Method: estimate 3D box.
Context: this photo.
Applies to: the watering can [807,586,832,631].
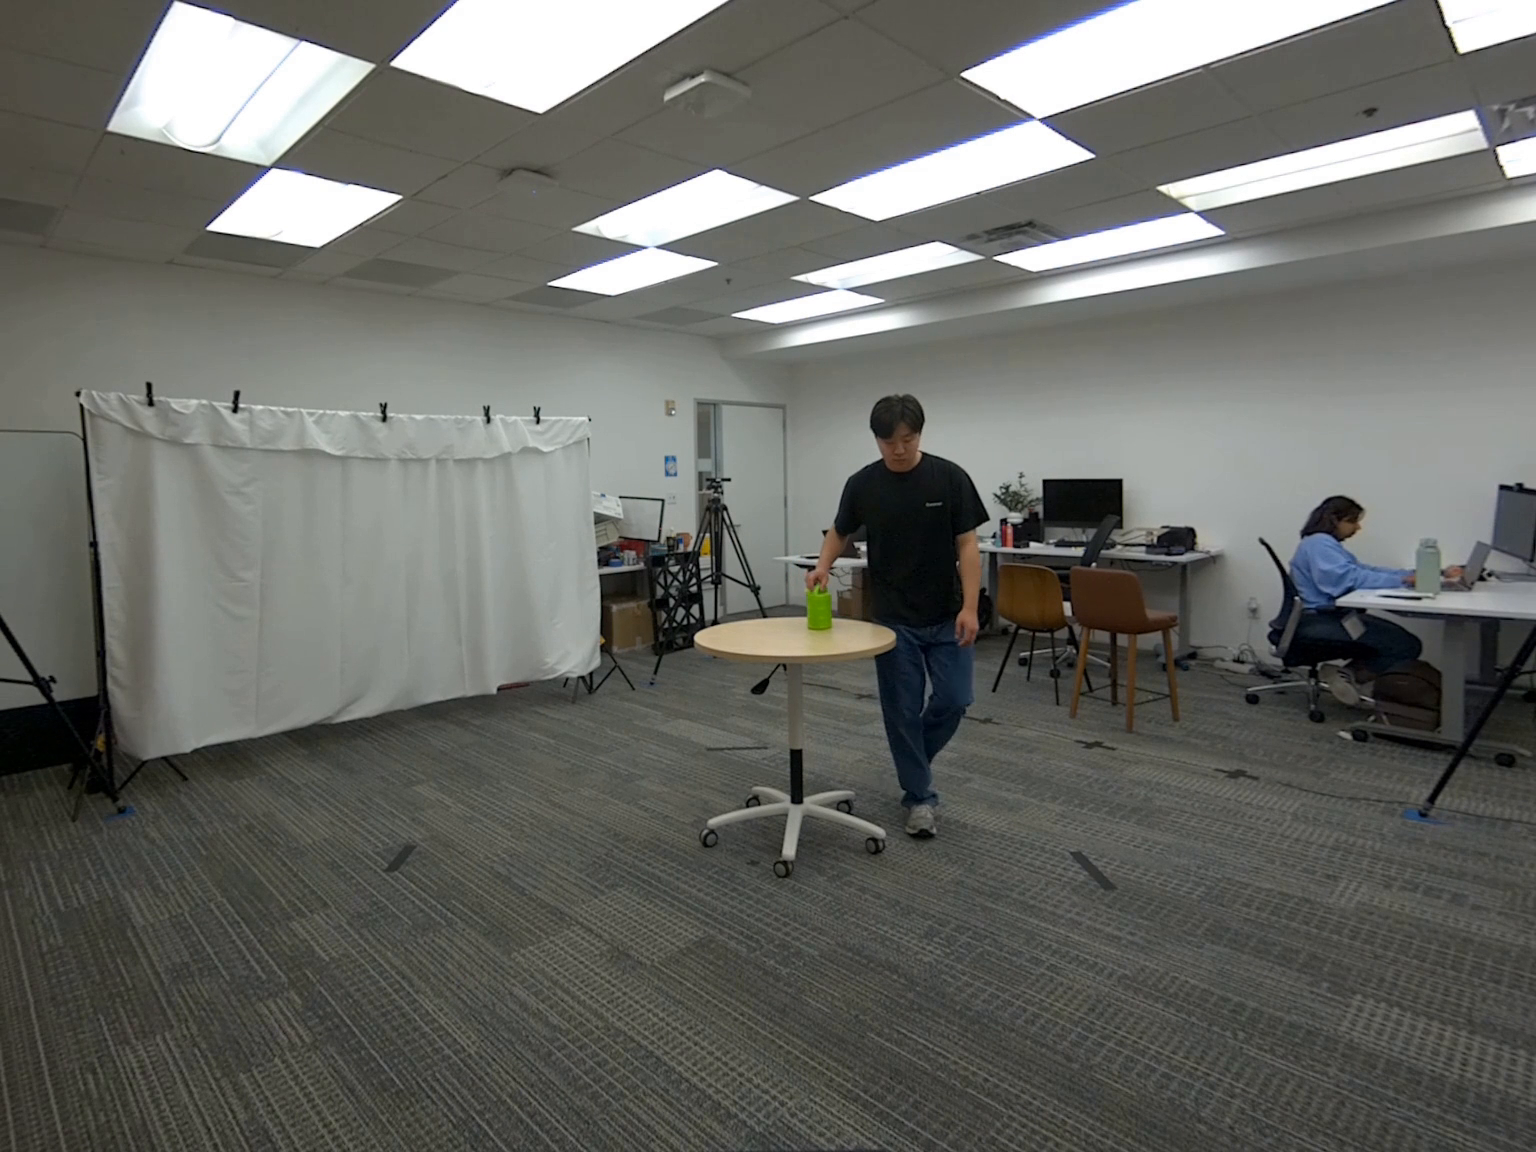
[{"bbox_3d":[0.184,0.123,3.370,0.101,0.176,0.271,-1,4,35],"label":"watering can"}]
